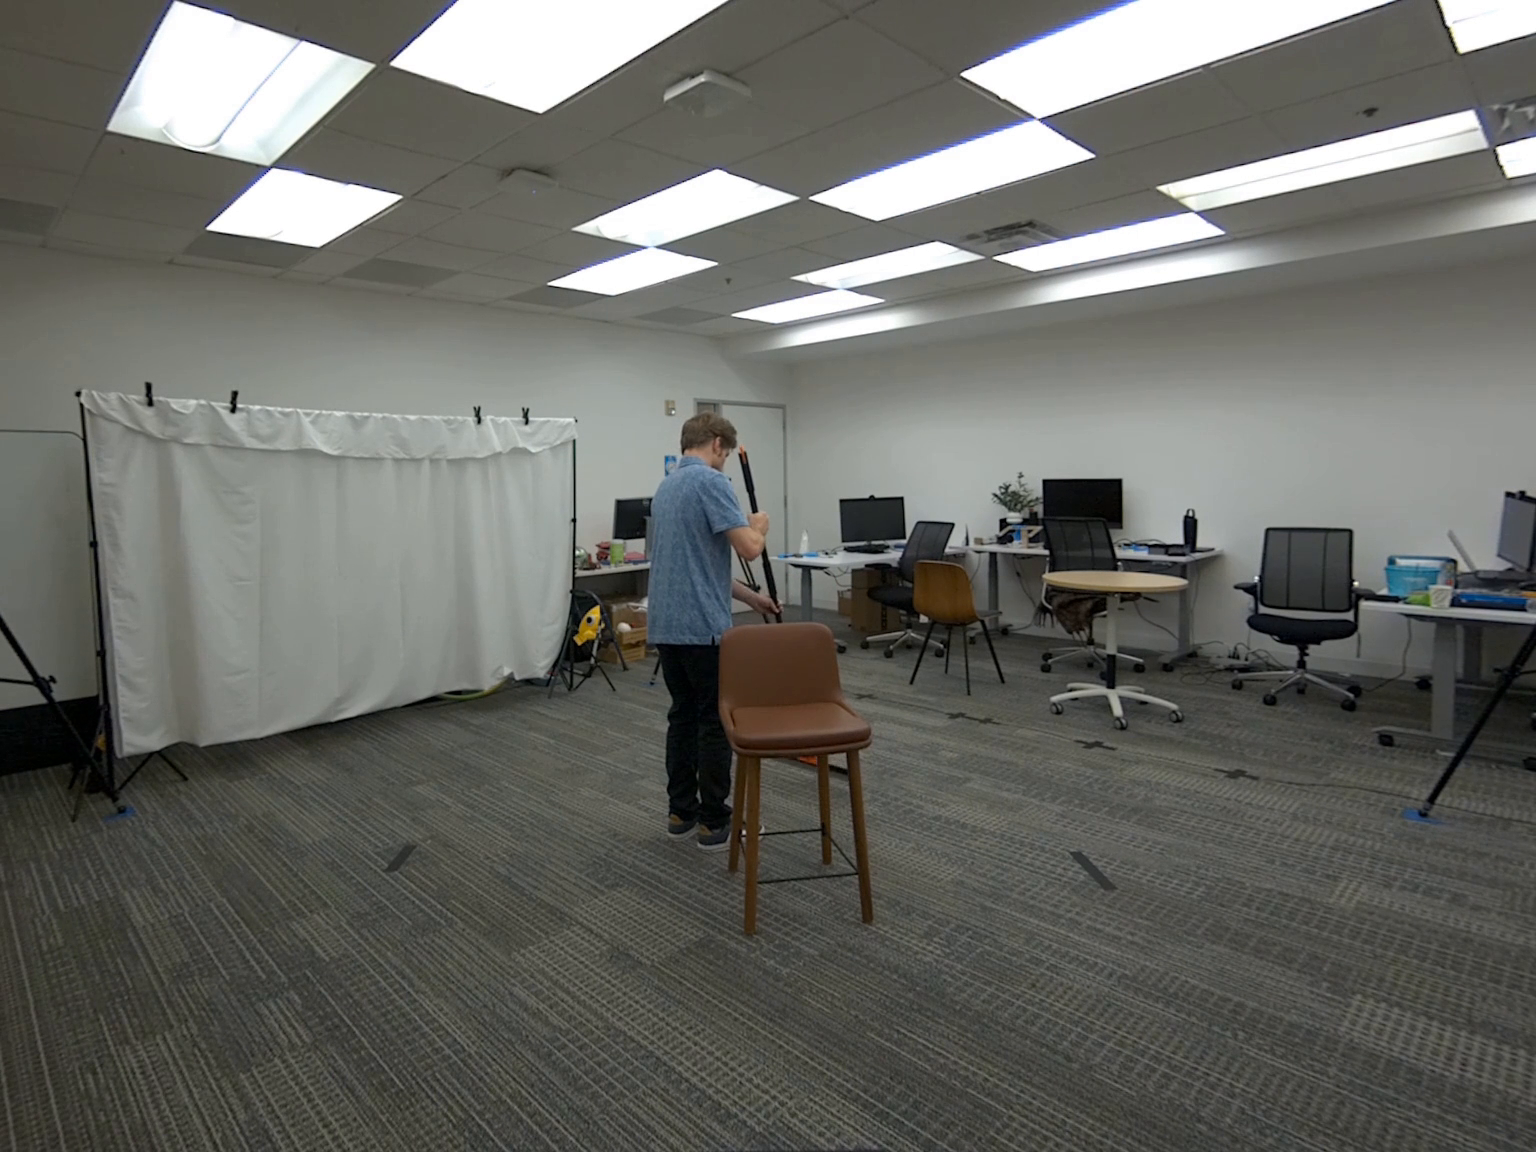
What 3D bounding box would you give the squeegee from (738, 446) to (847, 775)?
[{"bbox_3d":[0.040,0.176,3.625,0.450,1.506,0.052,4,25,37],"label":"squeegee"}]
